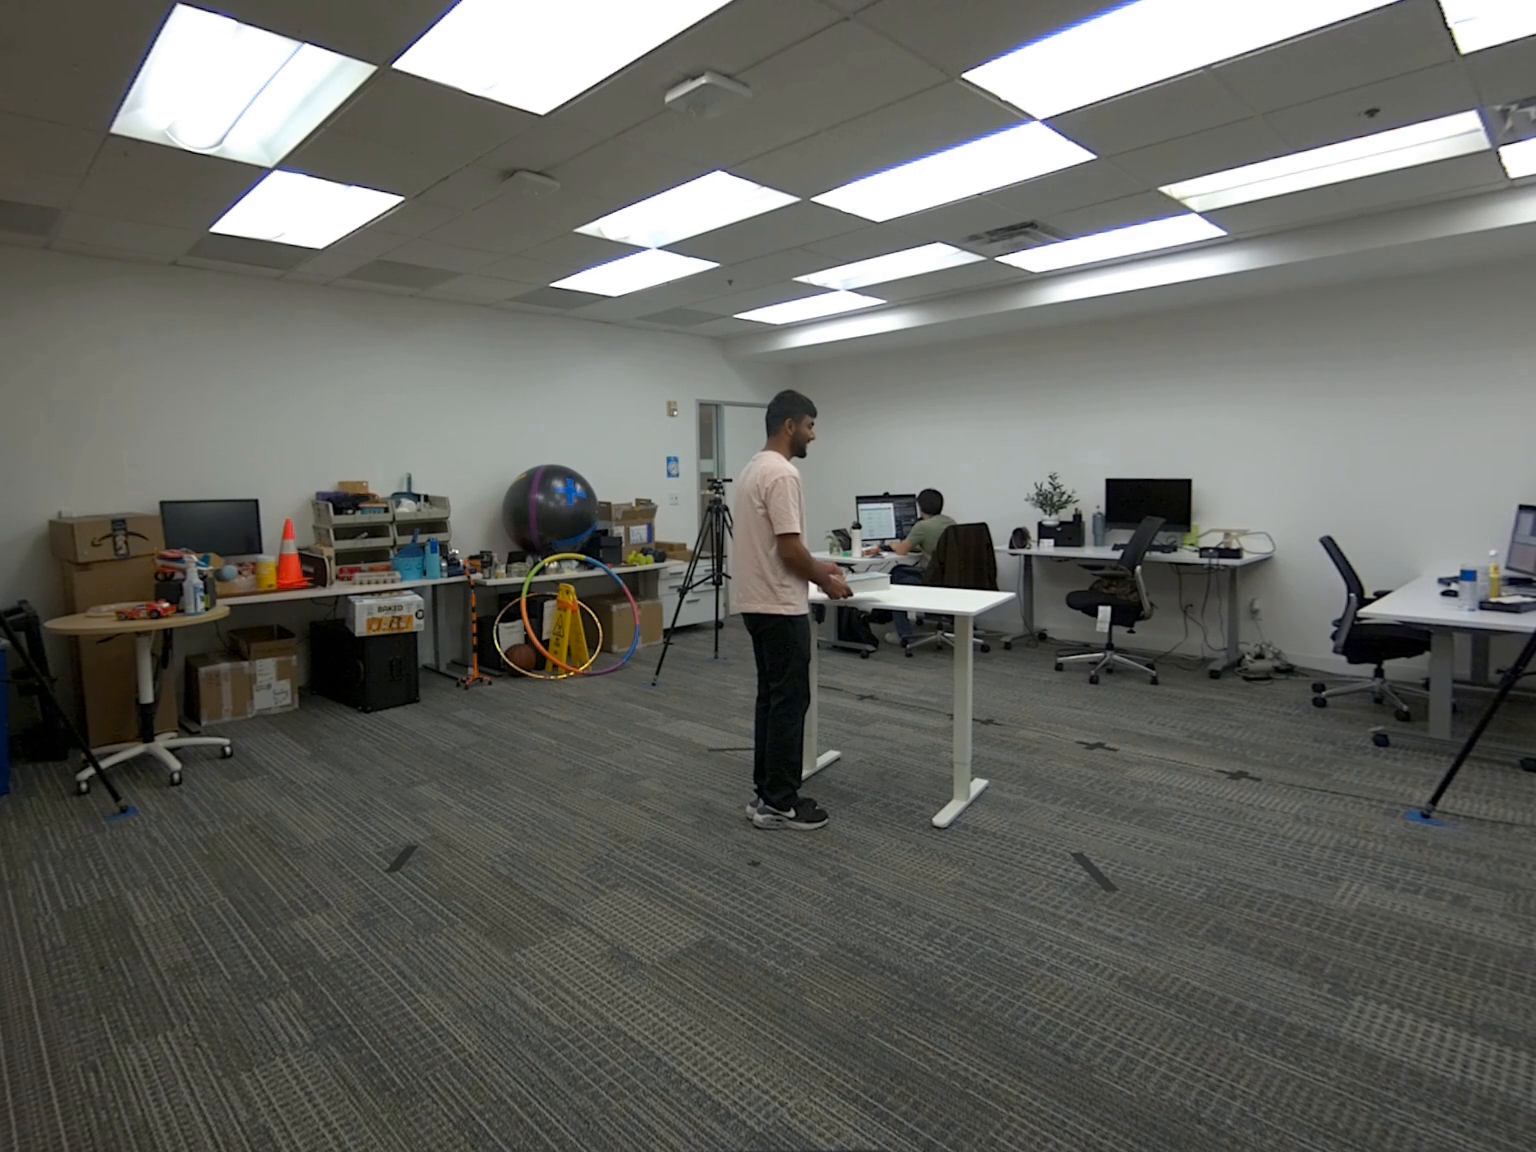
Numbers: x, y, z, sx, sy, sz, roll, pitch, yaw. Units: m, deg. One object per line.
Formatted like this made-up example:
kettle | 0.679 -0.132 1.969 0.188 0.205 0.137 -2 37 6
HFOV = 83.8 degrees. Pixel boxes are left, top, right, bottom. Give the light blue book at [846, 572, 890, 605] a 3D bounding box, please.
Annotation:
light blue book | 0.366 0.031 3.559 0.259 0.059 0.193 -7 6 -7
